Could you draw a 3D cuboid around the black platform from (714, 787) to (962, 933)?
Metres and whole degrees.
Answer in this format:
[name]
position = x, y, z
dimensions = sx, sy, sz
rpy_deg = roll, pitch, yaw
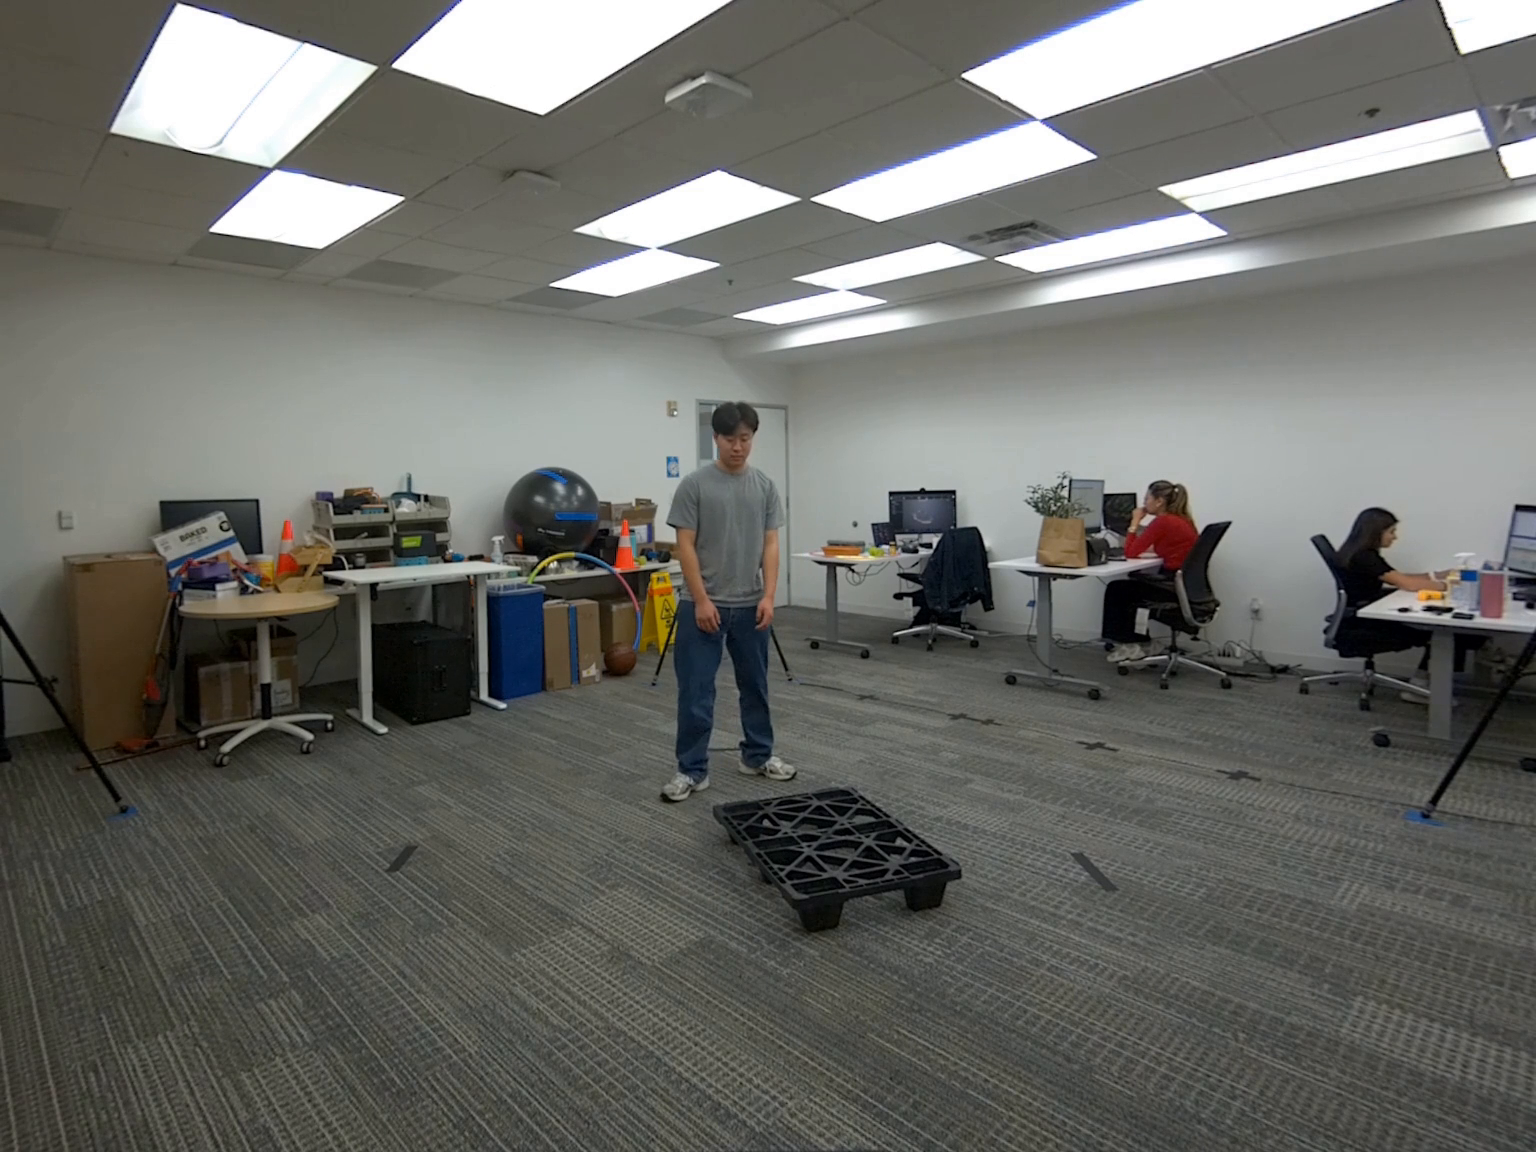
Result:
[black platform]
position = 0.207, 0.981, 3.032
dimensions = 0.595, 0.143, 0.823
rpy_deg = -4, 7, -20
